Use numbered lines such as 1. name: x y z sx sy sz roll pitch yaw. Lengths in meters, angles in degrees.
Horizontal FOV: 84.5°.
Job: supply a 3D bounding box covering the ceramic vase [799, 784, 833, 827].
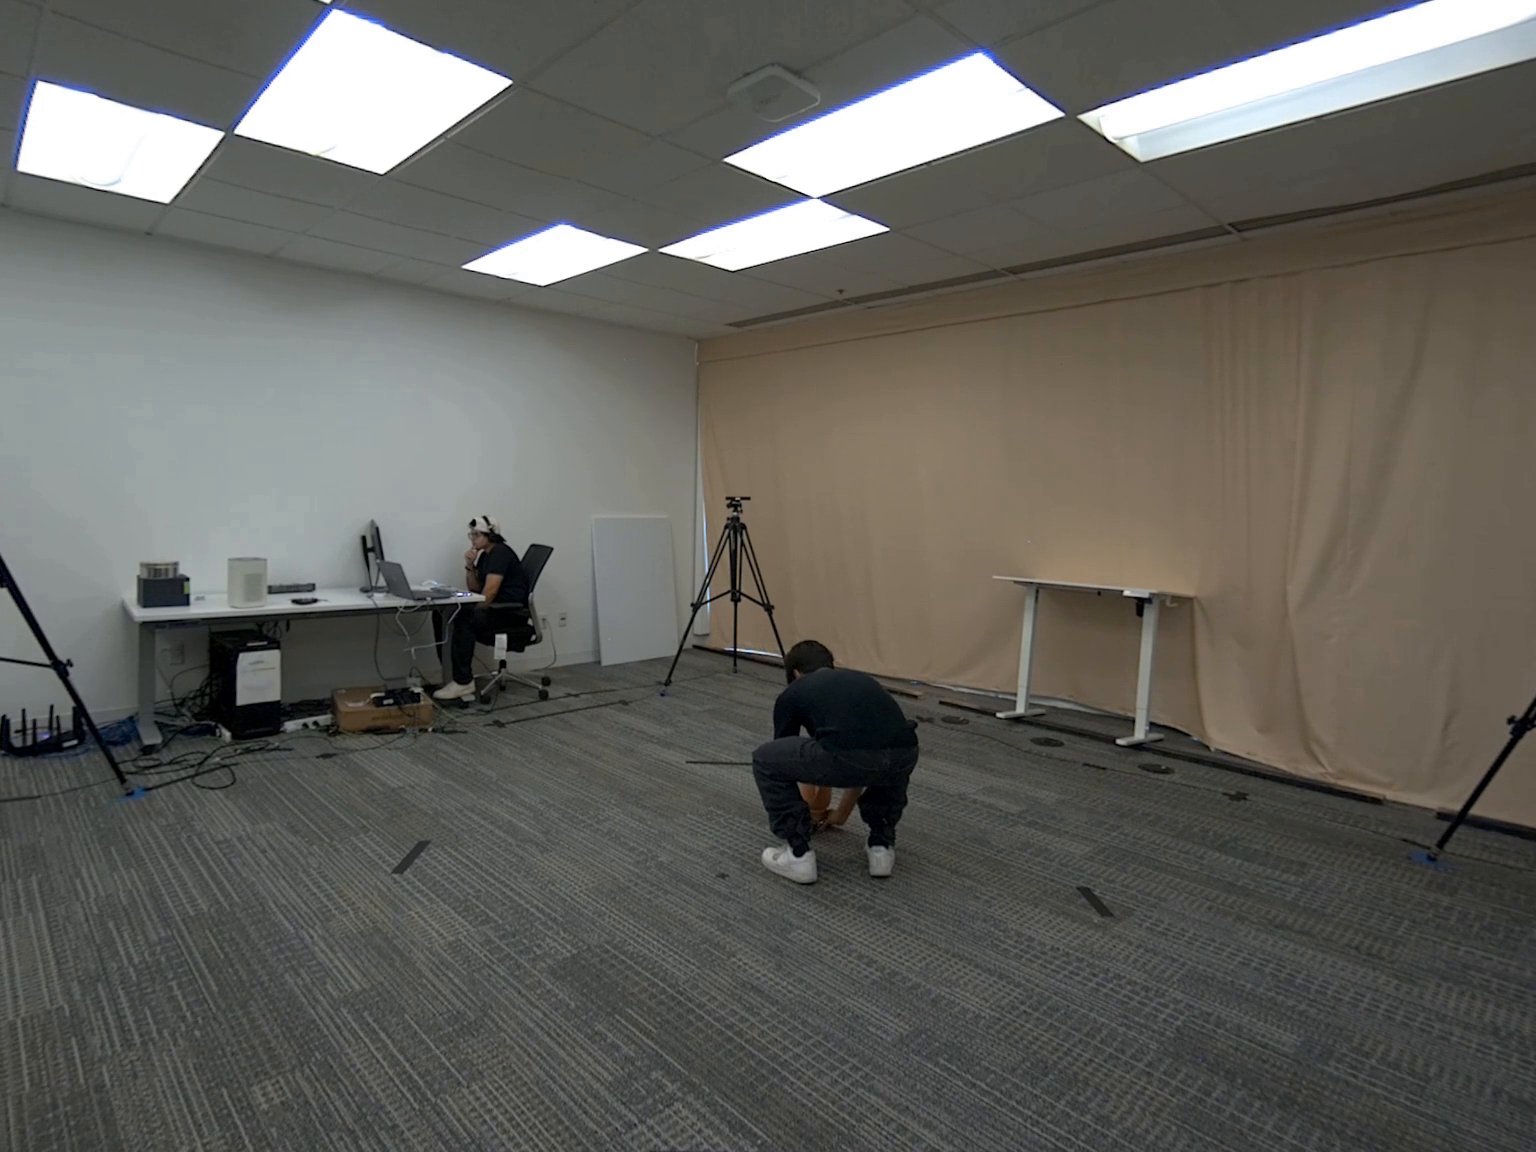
1. ceramic vase: 0.194 0.957 3.590 0.138 0.219 0.155 4 4 43
